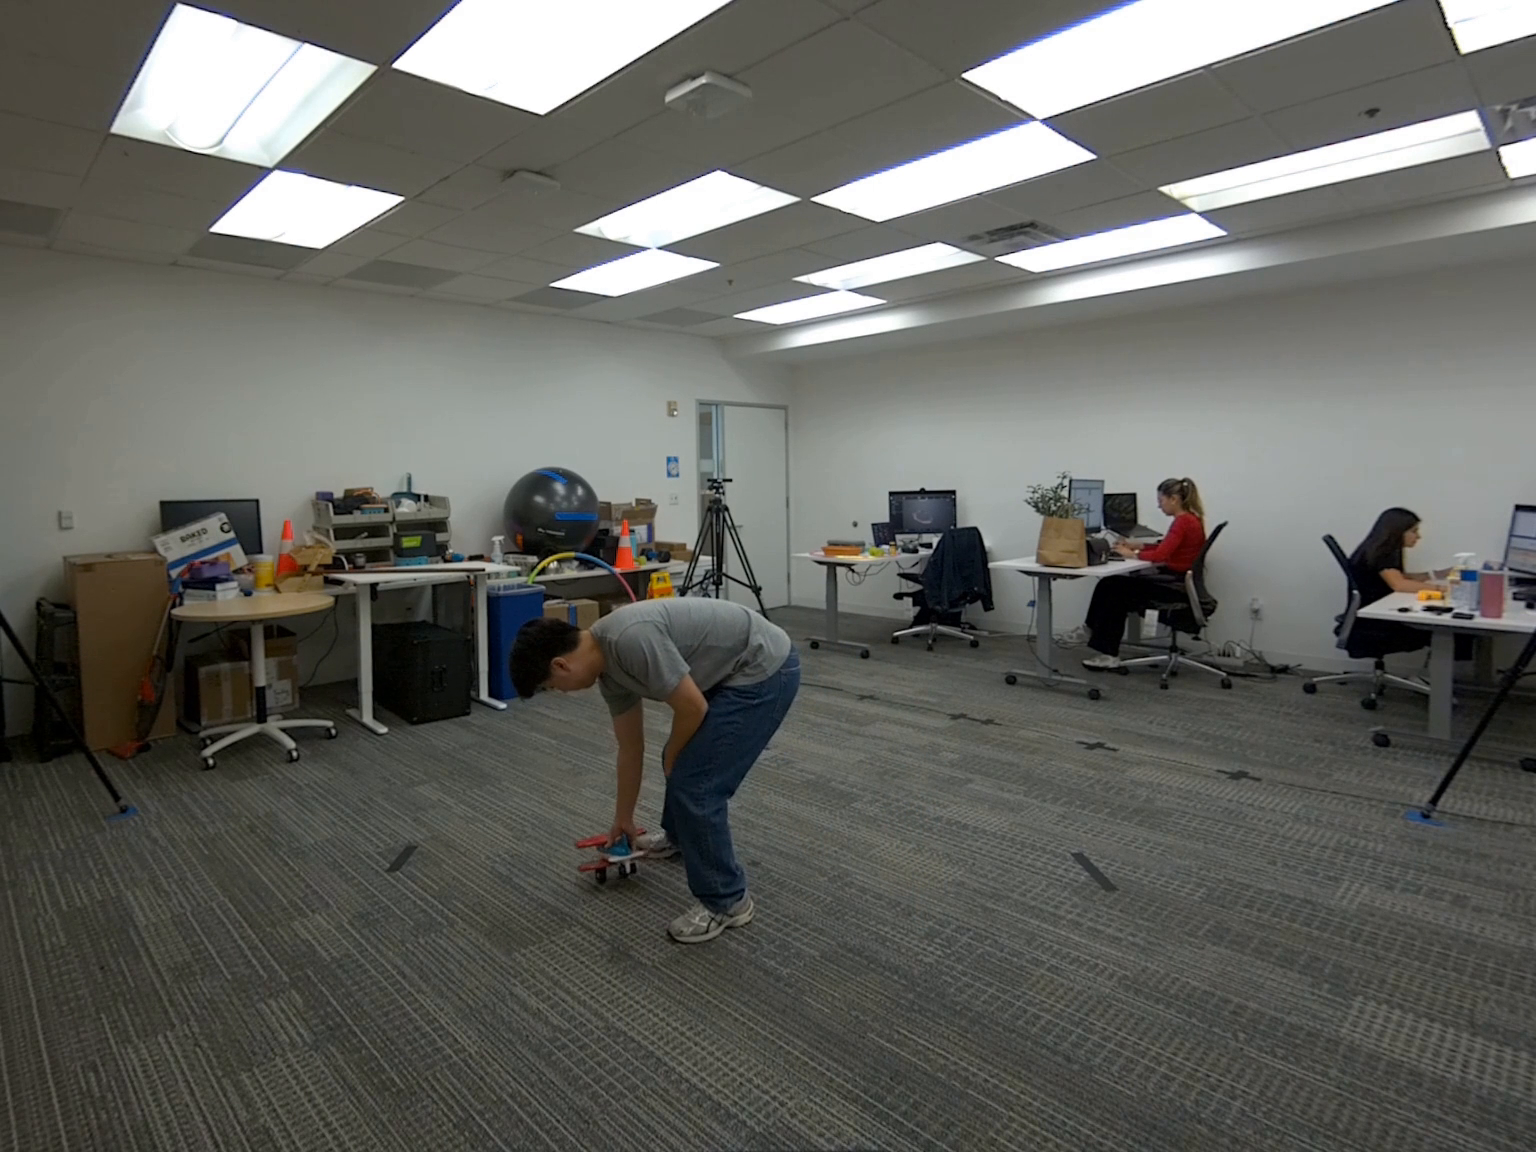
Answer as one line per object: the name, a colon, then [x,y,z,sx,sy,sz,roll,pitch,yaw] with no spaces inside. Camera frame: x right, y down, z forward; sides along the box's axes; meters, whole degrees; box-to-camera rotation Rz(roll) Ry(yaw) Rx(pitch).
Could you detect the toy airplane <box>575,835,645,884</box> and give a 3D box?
toy airplane: [-0.511,0.965,2.963,0.262,0.160,0.243,-26,-22,31]
